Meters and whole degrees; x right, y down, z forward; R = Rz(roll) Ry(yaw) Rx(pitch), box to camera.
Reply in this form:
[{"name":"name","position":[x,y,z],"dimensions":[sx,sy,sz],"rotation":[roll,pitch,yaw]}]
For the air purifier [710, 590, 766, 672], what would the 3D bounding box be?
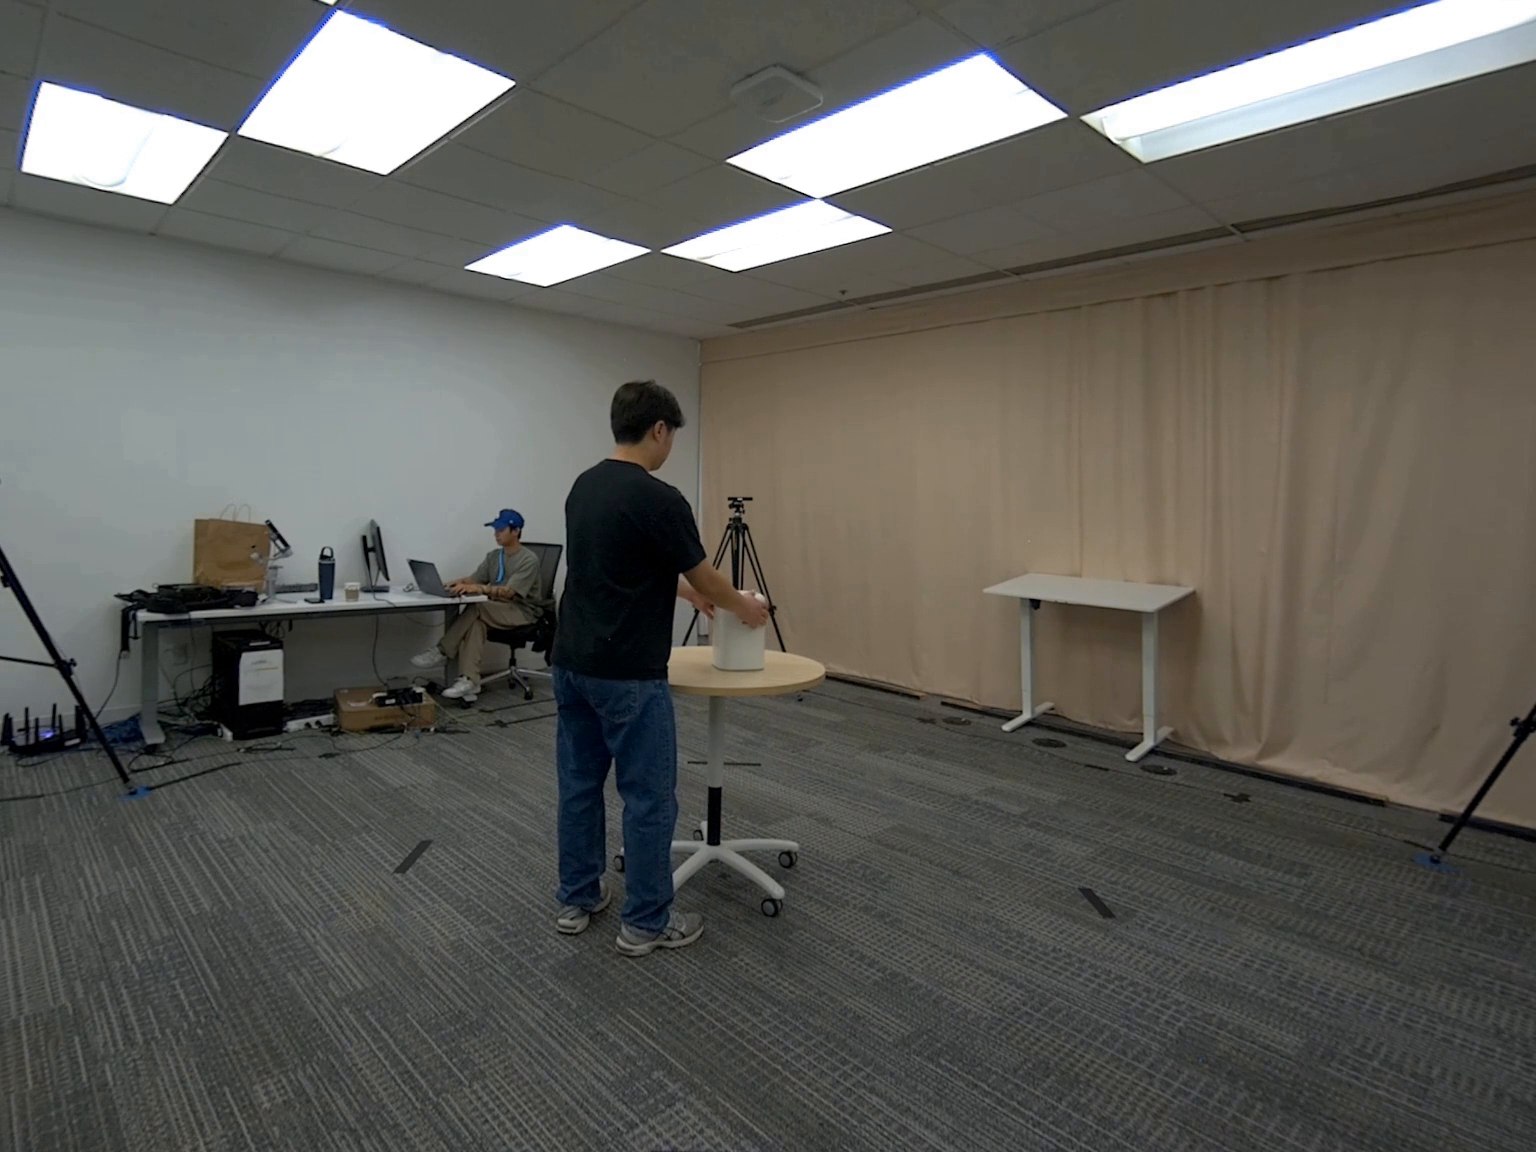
[{"name":"air purifier","position":[-0.108,0.193,2.984],"dimensions":[0.169,0.264,0.174],"rotation":[2,6,-14]}]
